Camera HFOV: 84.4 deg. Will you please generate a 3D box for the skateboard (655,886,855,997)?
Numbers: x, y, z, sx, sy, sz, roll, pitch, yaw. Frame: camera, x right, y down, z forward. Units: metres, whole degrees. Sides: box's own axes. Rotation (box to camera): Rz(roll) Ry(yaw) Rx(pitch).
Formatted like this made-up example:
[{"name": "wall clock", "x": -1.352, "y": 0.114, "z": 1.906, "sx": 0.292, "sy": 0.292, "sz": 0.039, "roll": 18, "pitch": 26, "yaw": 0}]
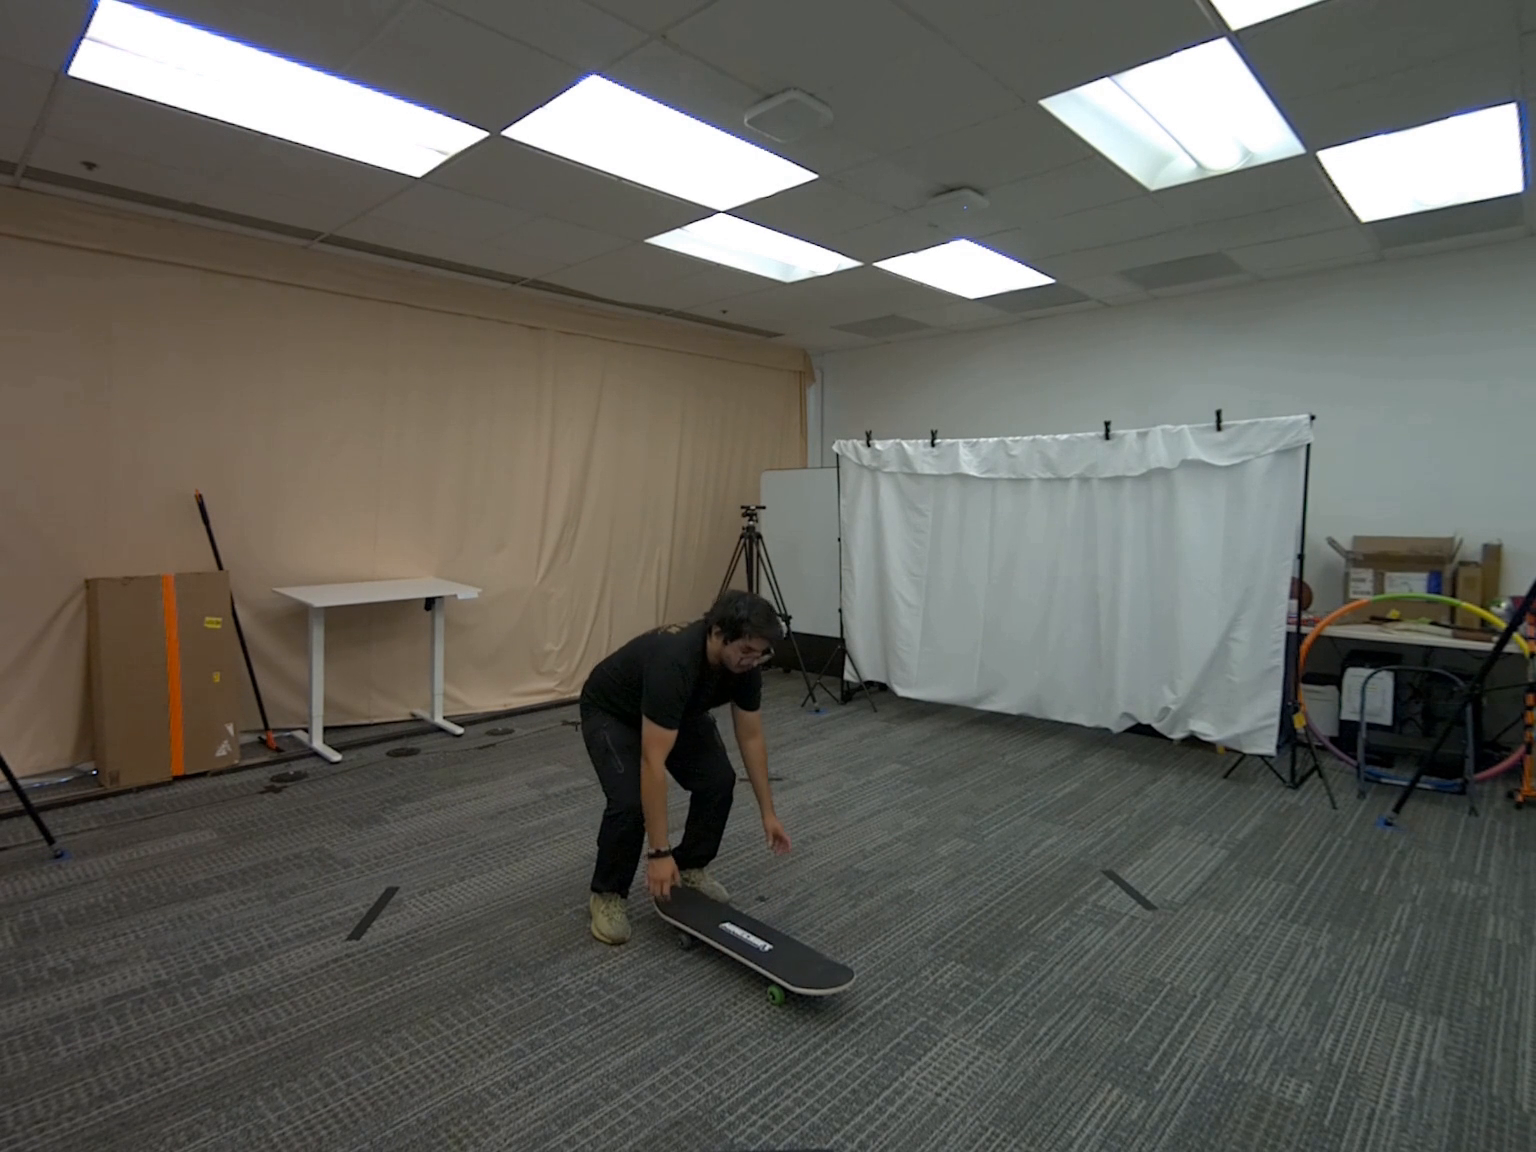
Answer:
[{"name": "skateboard", "x": -0.065, "y": 1.126, "z": 2.549, "sx": 0.187, "sy": 0.110, "sz": 0.812, "roll": -5, "pitch": 6, "yaw": -45}]
